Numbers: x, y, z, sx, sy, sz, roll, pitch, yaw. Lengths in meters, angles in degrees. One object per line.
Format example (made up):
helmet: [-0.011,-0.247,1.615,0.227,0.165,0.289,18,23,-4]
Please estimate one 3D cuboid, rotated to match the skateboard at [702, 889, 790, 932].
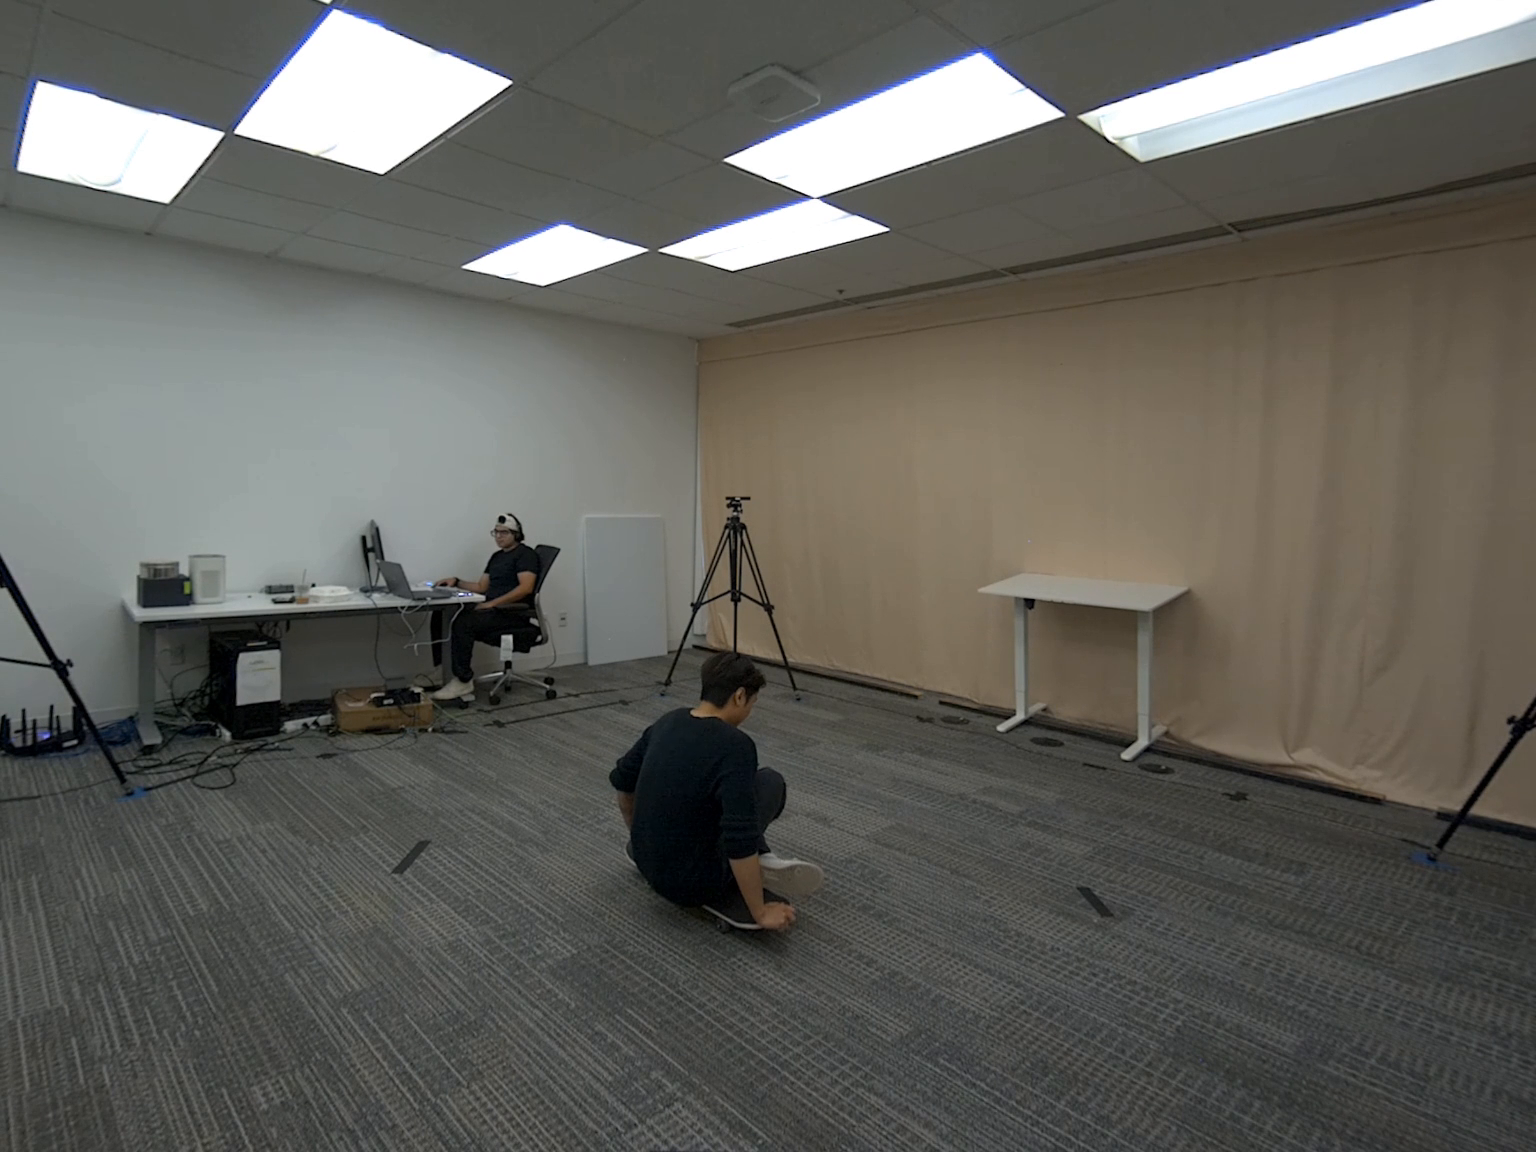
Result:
skateboard: [-0.223,1.079,2.898,0.805,0.109,0.190,6,12,42]
